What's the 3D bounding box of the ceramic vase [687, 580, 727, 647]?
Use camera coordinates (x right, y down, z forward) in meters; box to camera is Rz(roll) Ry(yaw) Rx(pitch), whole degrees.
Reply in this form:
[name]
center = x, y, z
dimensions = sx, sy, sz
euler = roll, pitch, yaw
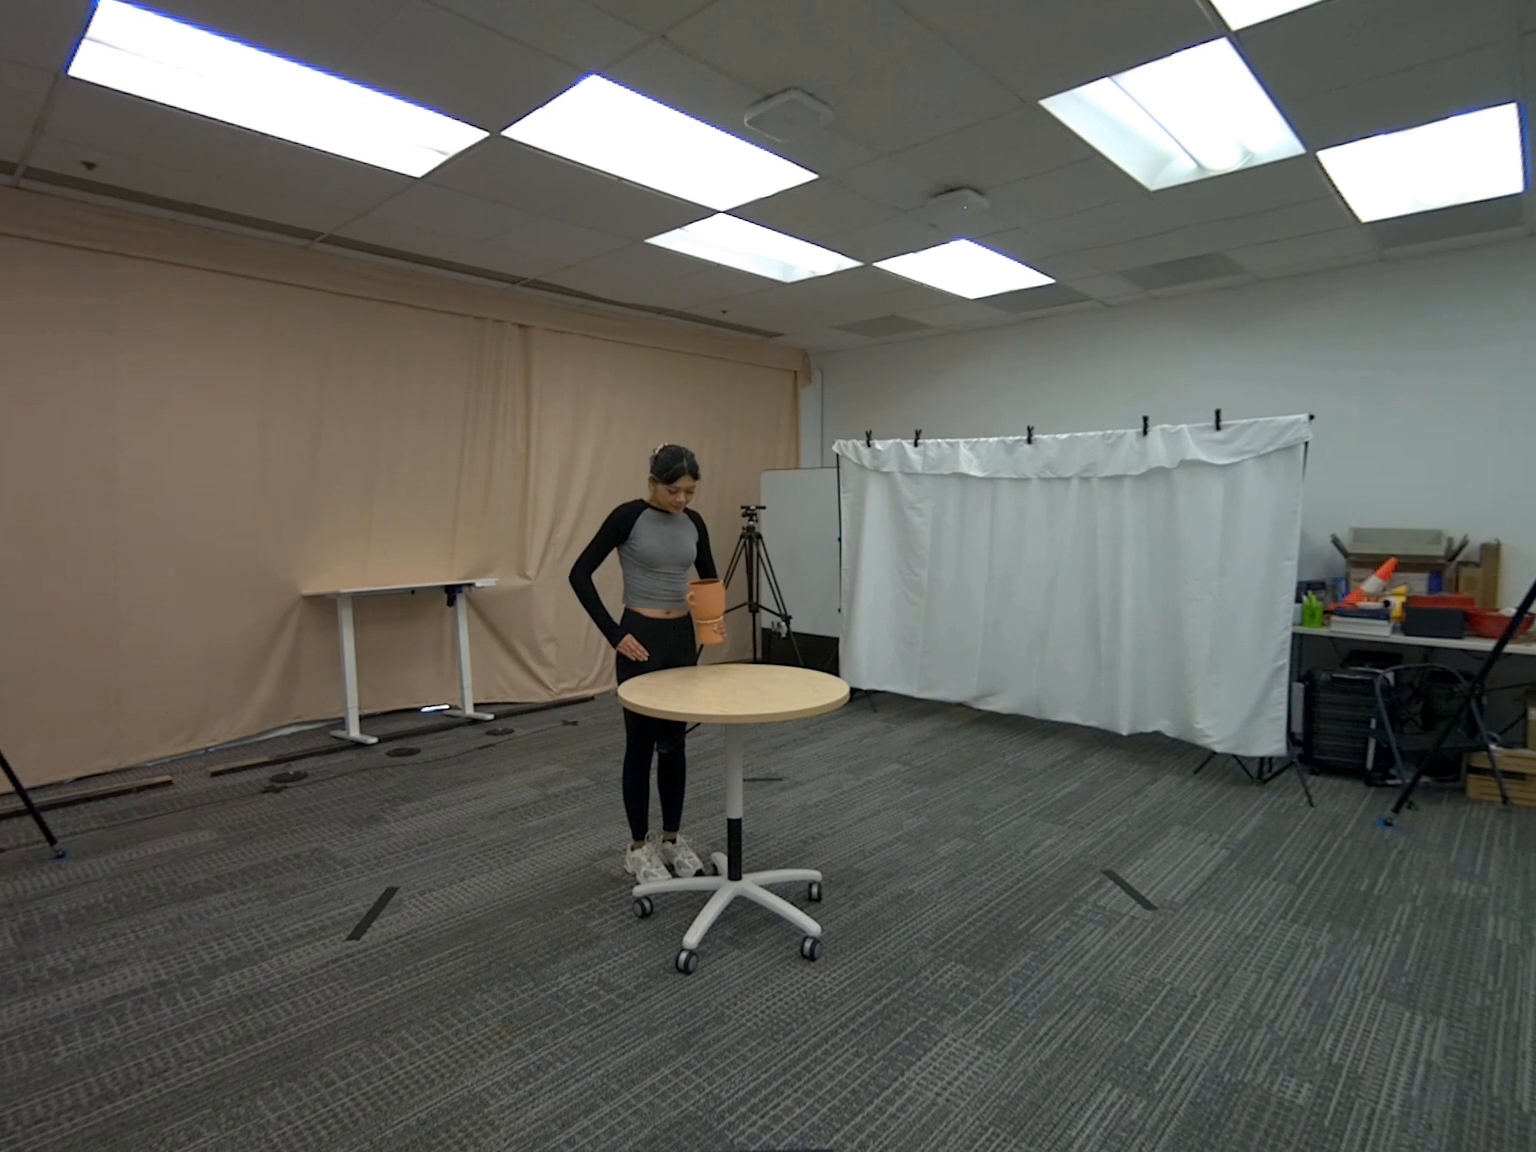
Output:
[ceramic vase]
center = -0.218, 0.131, 3.116
dimensions = 0.158, 0.218, 0.136
euler = -5, 8, -8
